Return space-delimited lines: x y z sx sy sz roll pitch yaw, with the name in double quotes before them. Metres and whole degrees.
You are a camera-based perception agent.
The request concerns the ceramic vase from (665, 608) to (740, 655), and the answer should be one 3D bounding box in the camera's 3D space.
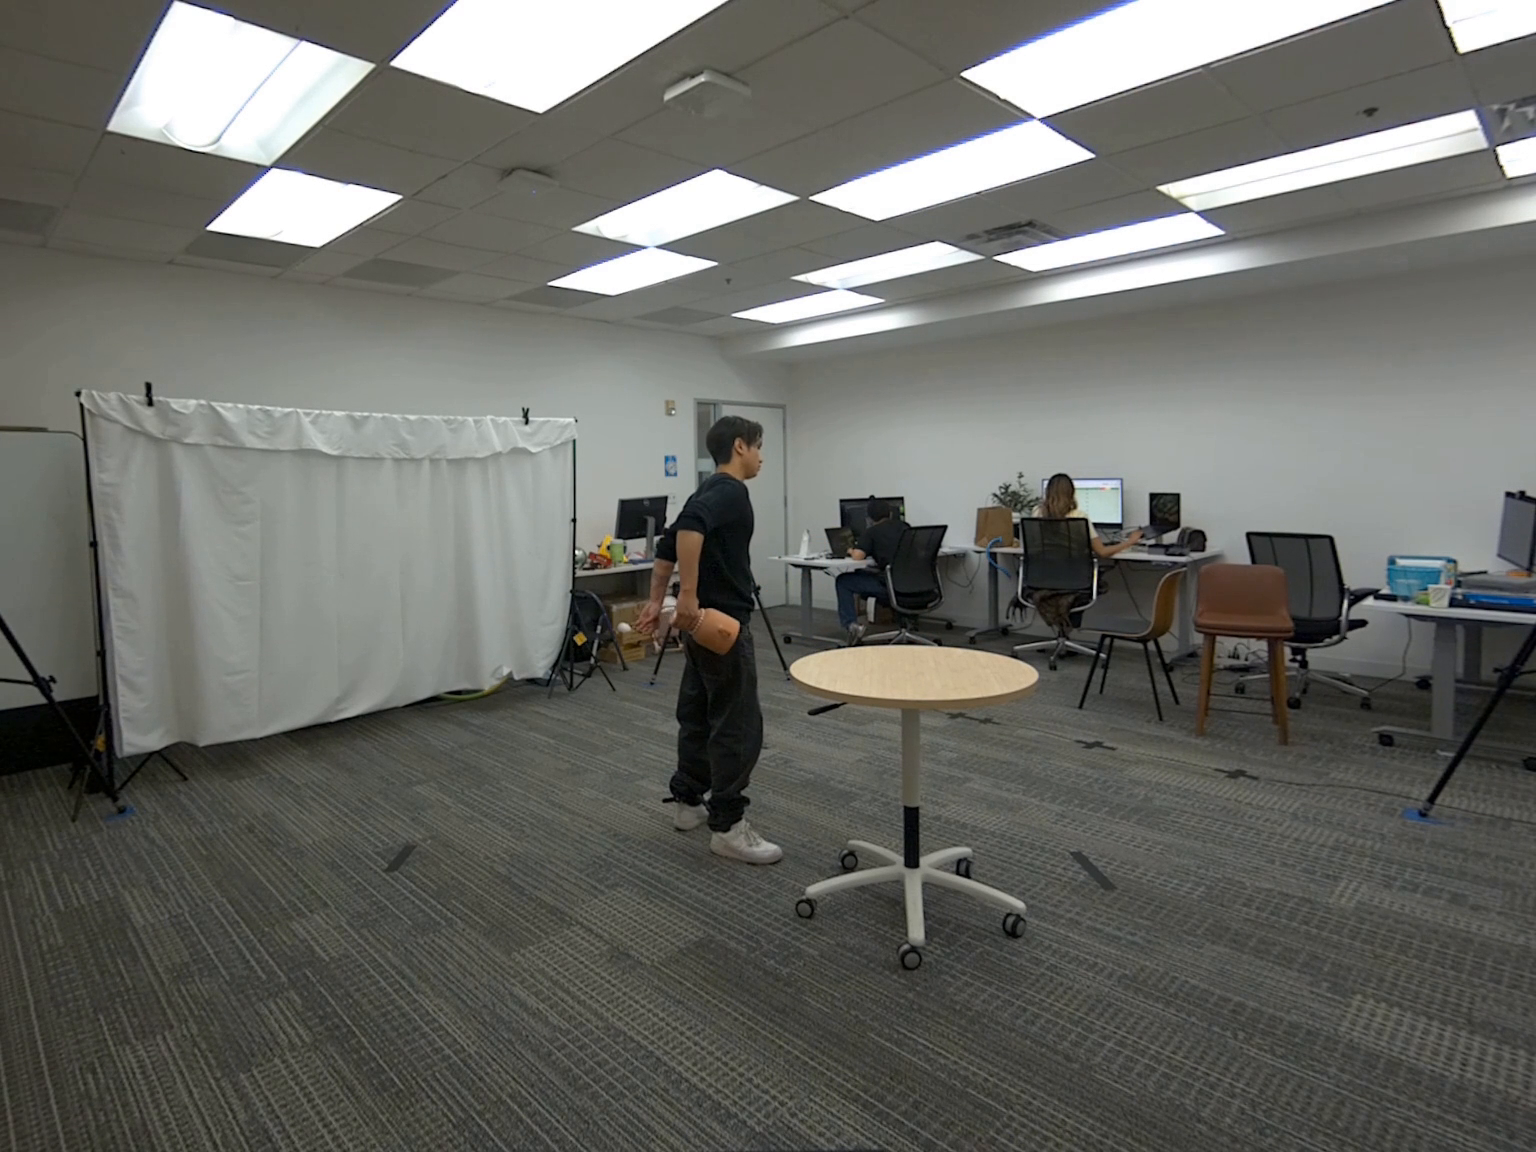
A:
"ceramic vase" -0.219 0.171 2.993 0.216 0.158 0.137 25 35 -14
